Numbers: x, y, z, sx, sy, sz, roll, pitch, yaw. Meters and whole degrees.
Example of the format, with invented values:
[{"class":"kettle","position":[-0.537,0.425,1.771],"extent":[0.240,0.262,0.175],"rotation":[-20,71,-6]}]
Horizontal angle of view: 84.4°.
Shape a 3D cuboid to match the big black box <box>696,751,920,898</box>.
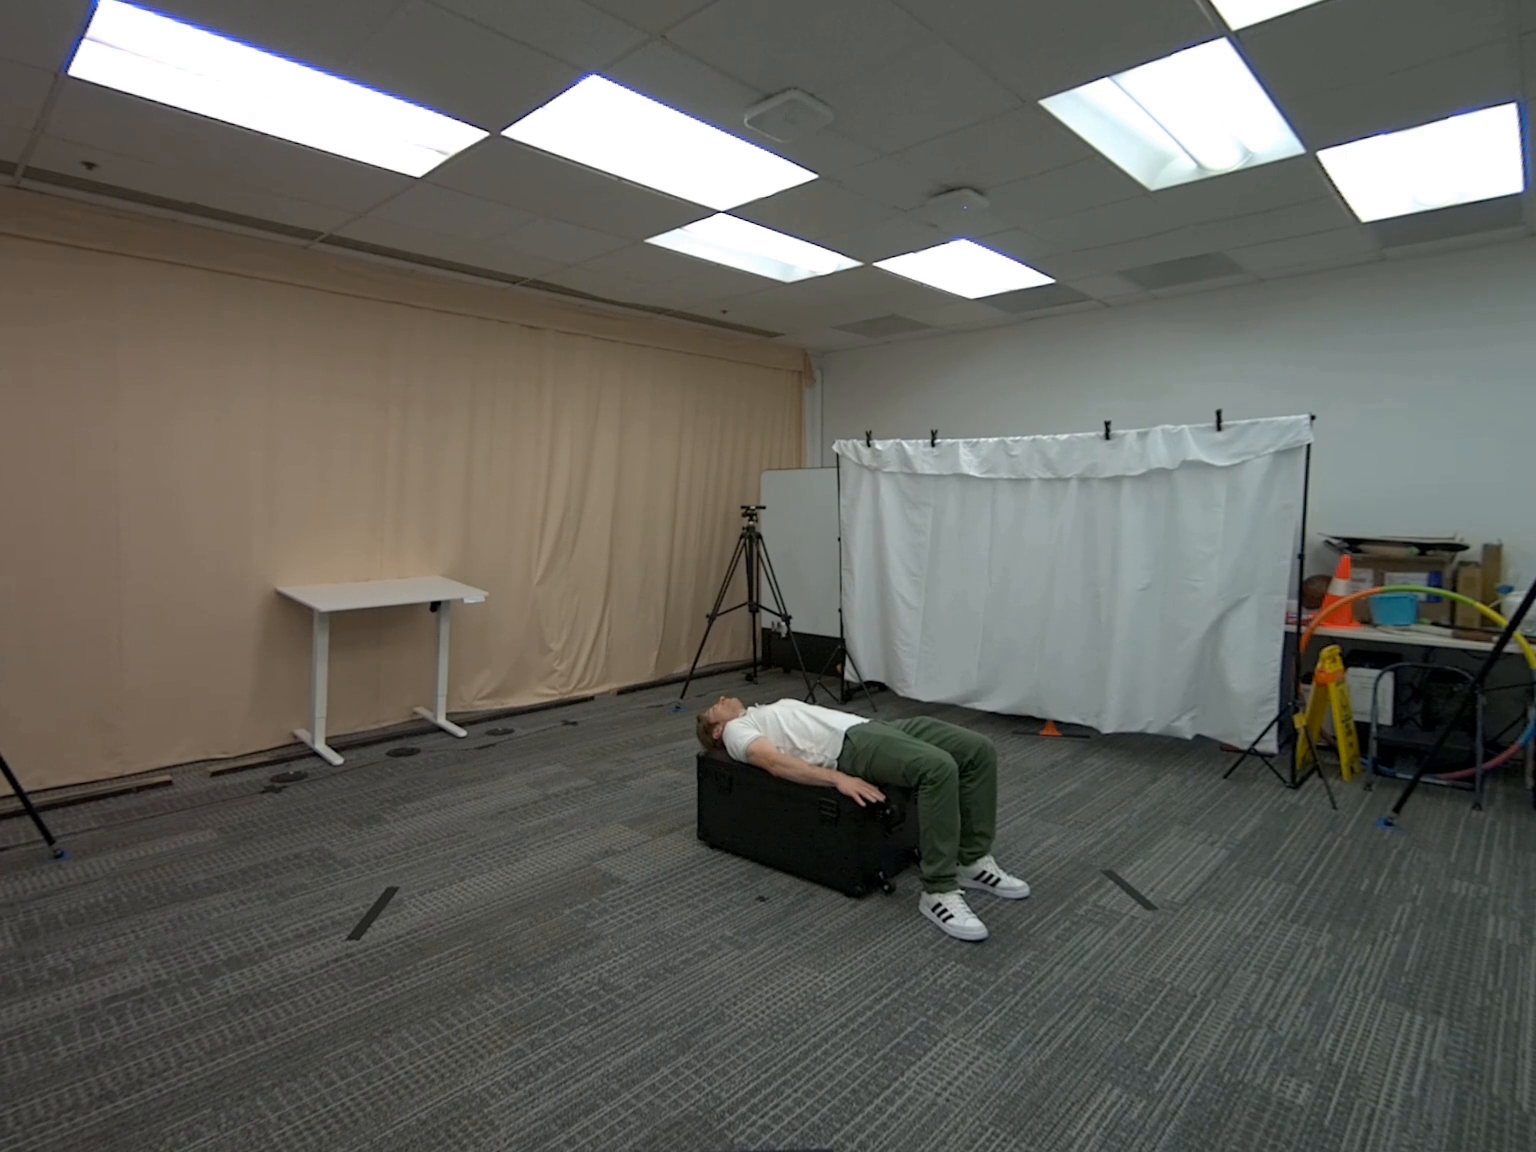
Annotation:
[{"class":"big black box","position":[0.190,0.925,3.347],"extent":[0.897,0.384,0.507],"rotation":[4,5,39]}]
